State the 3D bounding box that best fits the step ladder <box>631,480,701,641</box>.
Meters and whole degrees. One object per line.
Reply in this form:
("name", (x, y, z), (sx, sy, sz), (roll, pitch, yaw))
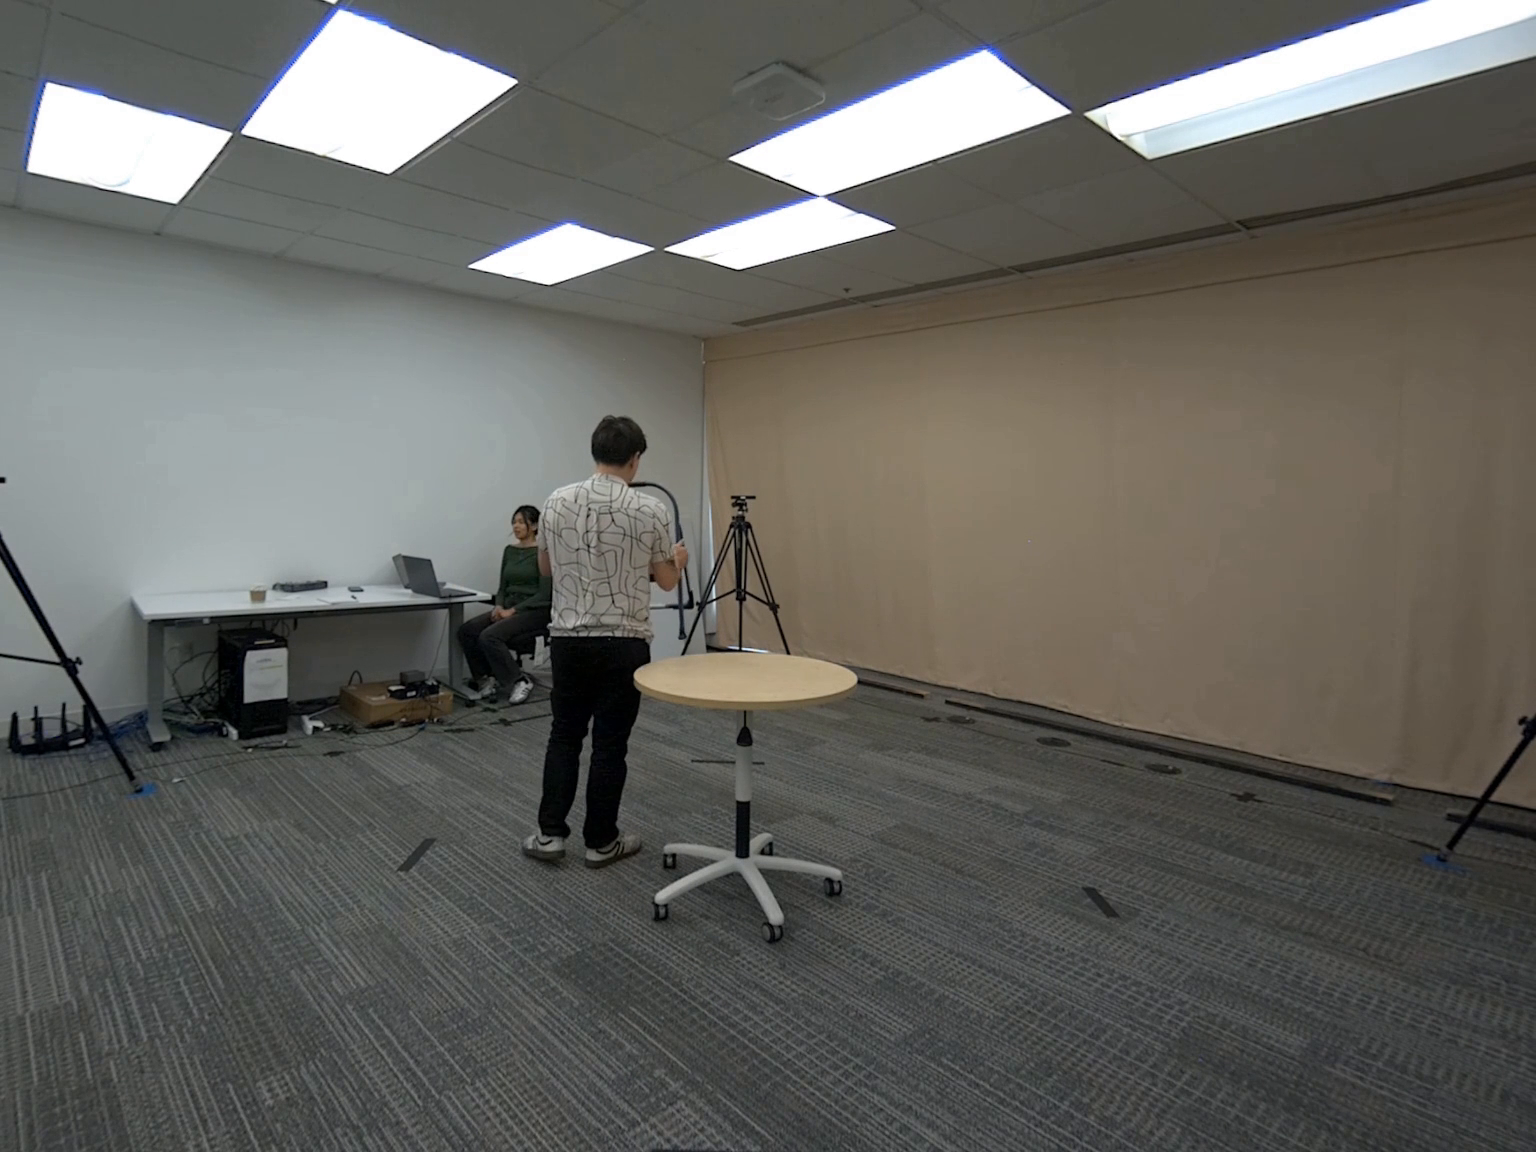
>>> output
("step ladder", (-0.572, -0.072, 3.514), (0.432, 0.598, 0.352), (-2, 17, 5))
